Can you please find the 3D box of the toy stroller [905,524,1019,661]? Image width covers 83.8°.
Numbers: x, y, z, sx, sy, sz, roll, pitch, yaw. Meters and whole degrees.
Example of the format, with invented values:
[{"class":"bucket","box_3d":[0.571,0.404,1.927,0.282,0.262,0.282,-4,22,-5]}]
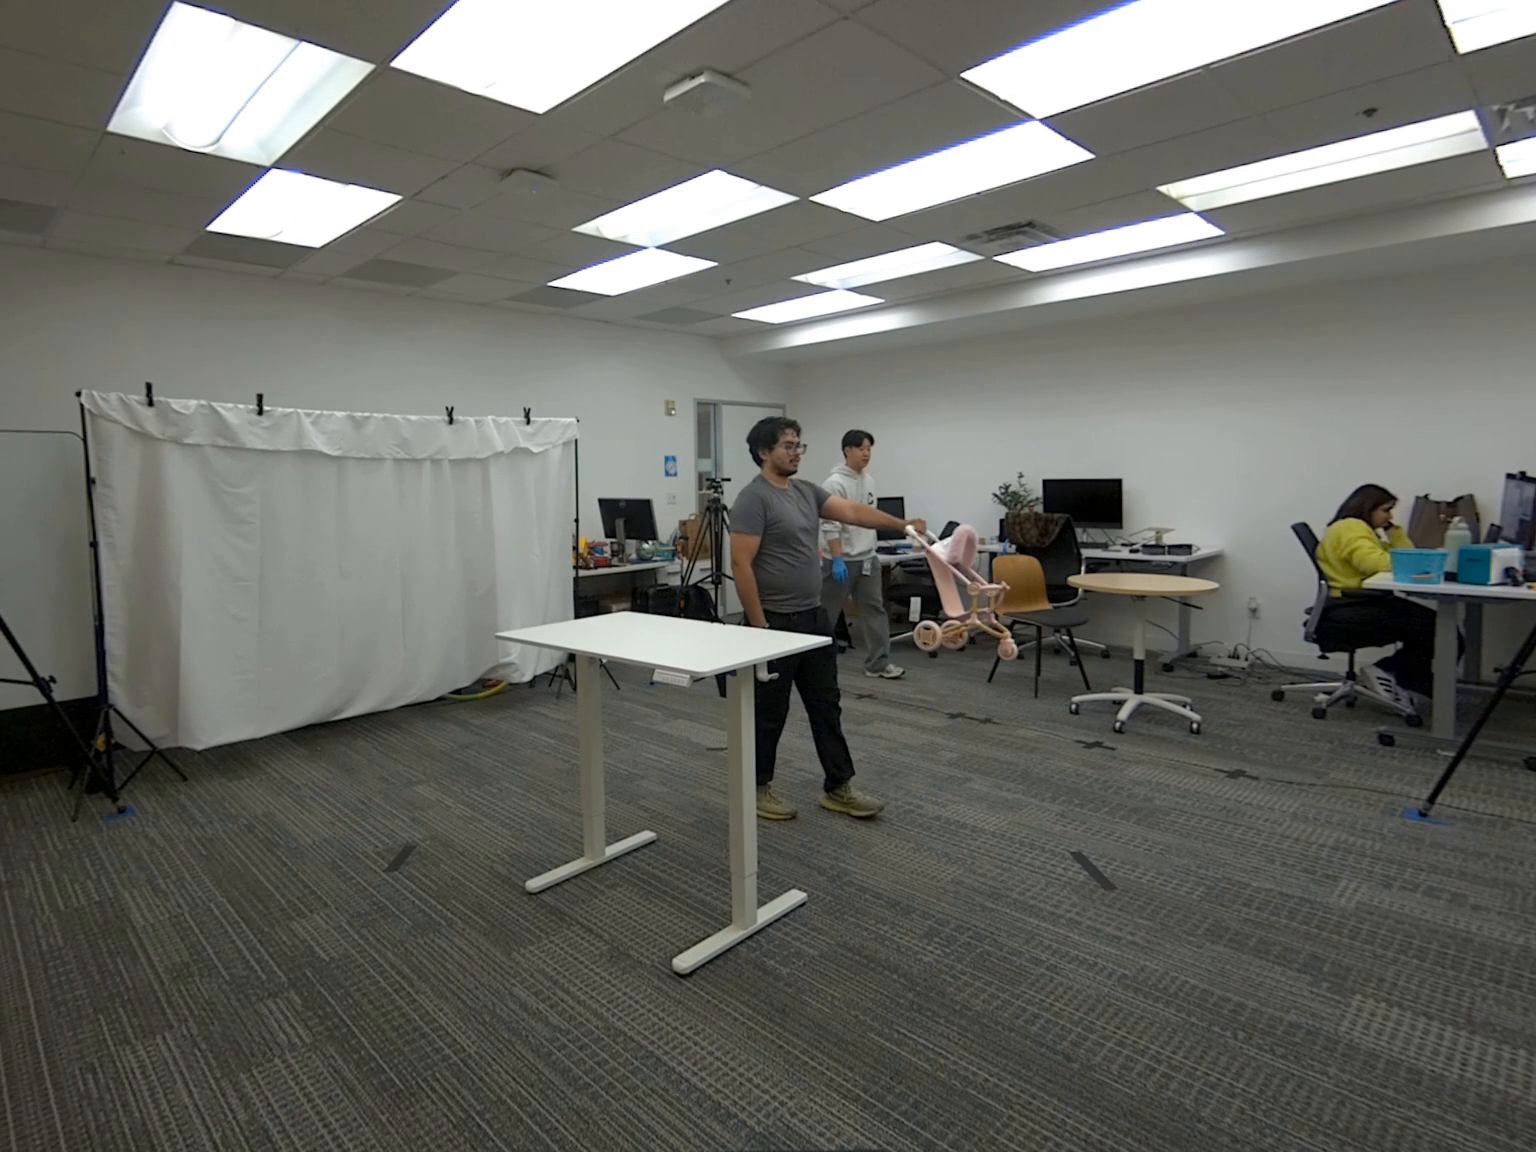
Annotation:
[{"class":"toy stroller","box_3d":[0.717,0.052,3.141,0.349,0.540,0.273,-12,-10,37]}]
